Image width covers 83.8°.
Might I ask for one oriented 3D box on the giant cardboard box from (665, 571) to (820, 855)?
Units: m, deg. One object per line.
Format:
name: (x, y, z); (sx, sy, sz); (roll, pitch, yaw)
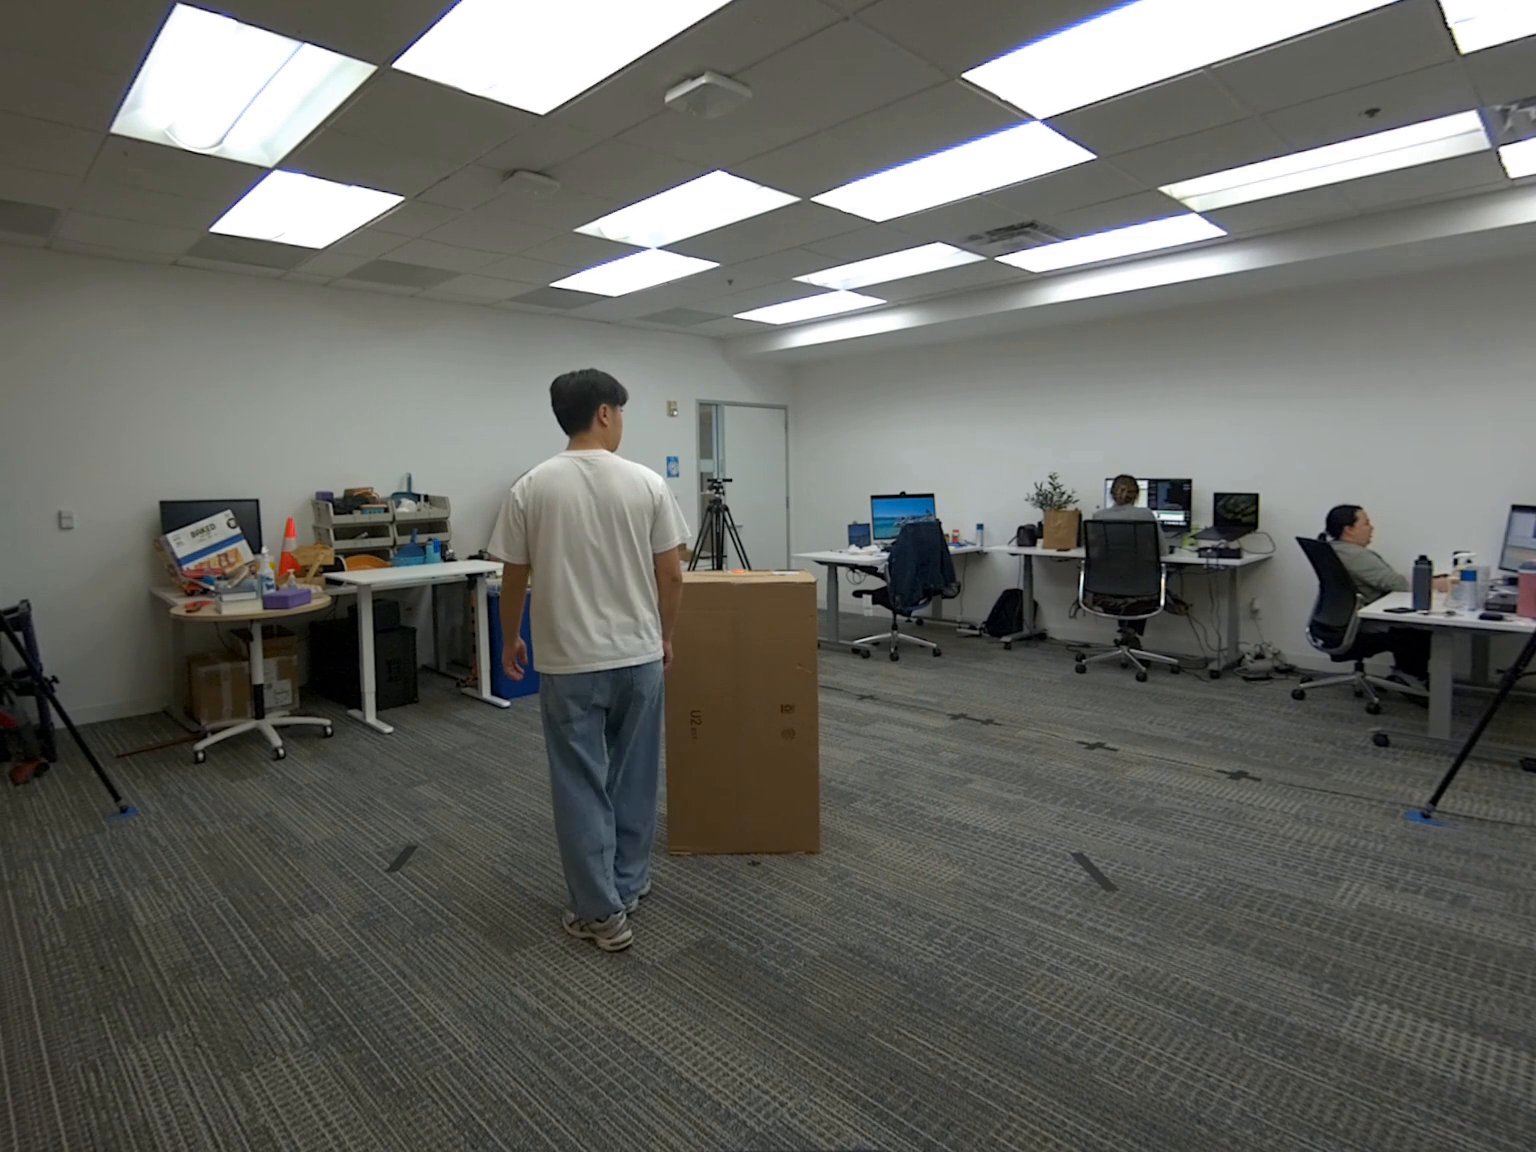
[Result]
giant cardboard box: (-0.099, 0.509, 3.366); (0.577, 1.022, 0.428); (-1, 4, -1)
